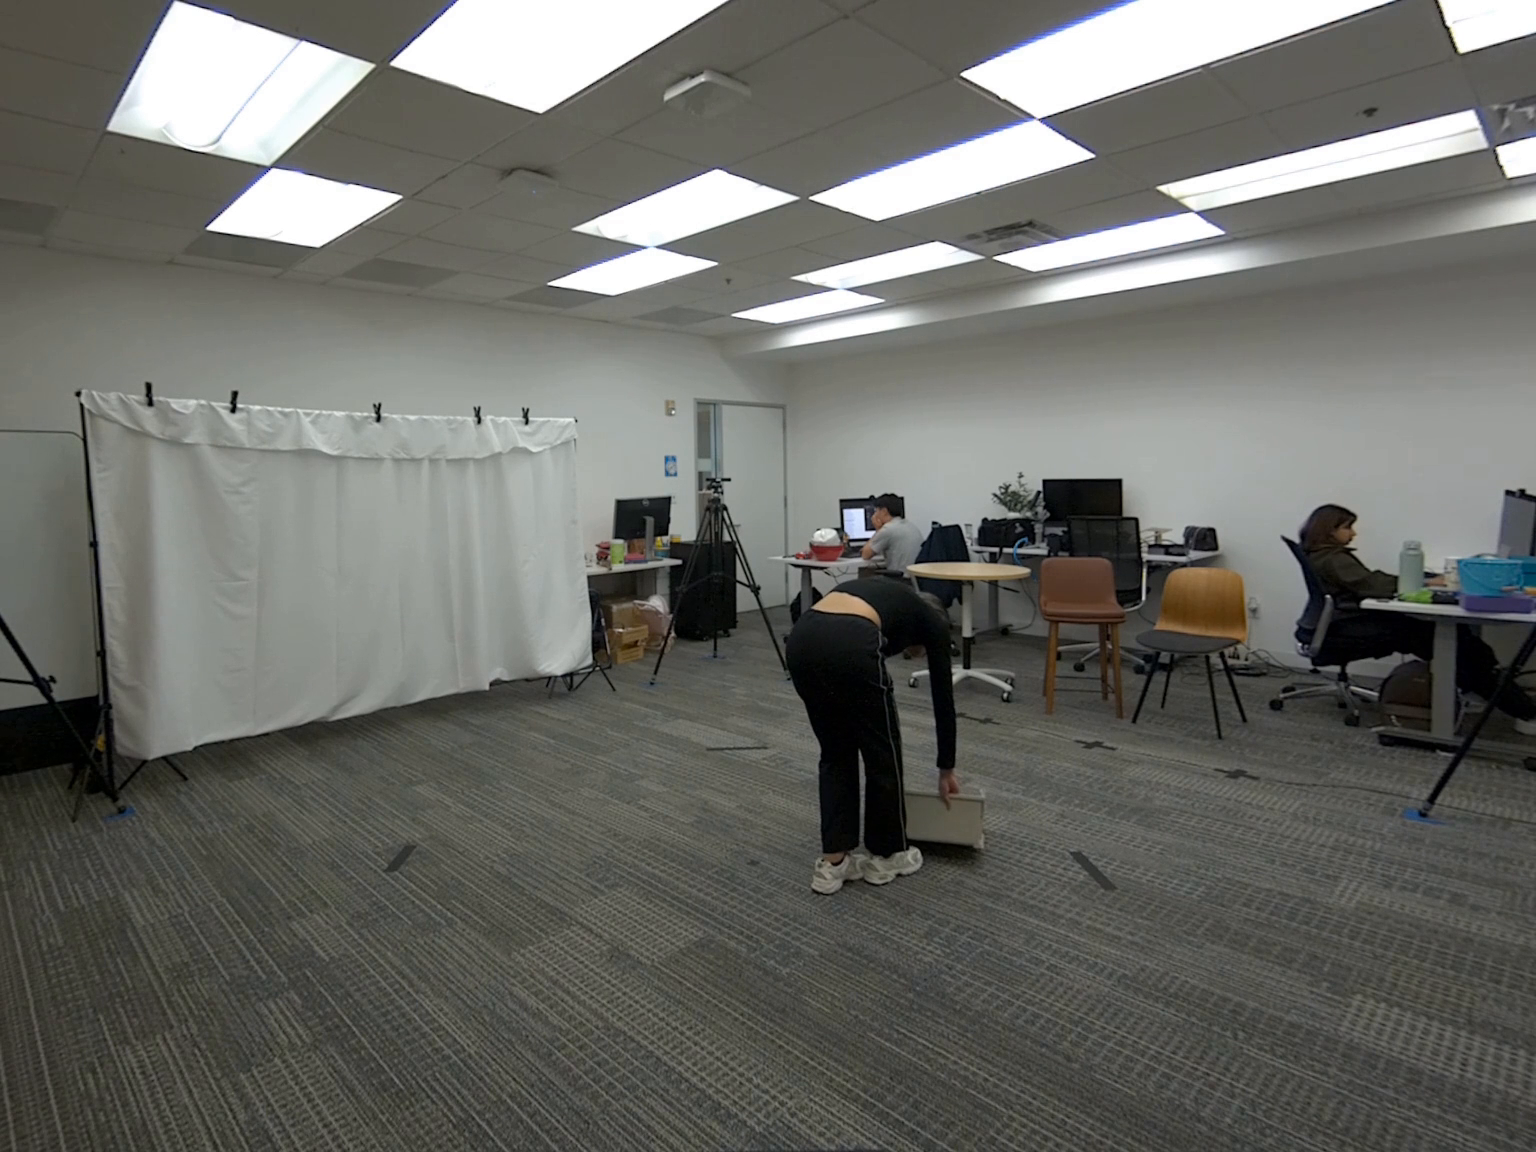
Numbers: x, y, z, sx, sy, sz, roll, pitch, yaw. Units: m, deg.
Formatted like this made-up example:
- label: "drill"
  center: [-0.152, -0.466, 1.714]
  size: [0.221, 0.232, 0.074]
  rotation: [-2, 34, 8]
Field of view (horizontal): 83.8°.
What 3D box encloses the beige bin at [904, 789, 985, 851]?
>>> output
- label: "beige bin"
  center: [0.611, 0.889, 3.265]
  size: [0.428, 0.189, 0.371]
  rotation: [2, -2, 14]
